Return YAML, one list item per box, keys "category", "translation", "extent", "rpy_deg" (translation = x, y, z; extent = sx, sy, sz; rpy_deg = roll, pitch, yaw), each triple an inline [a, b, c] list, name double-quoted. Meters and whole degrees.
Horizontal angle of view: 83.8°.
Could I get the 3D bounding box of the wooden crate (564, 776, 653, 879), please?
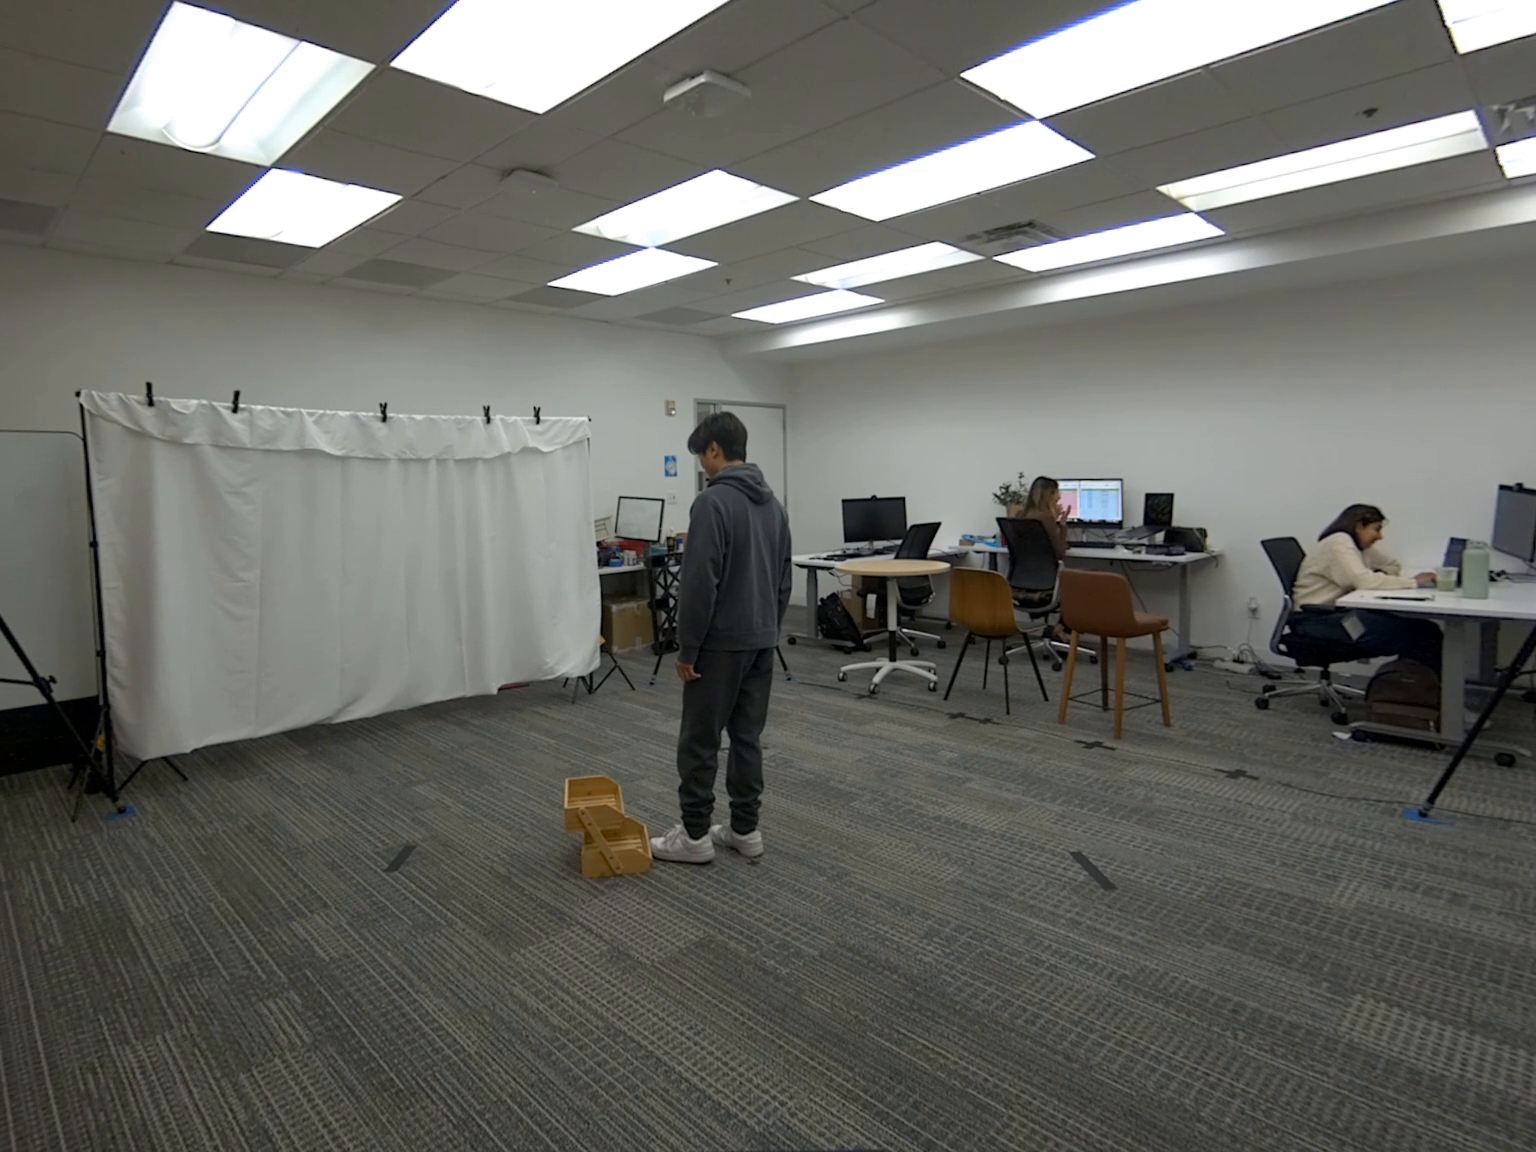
- category: "wooden crate"
  translation: [-0.586, 0.909, 3.161]
  extent: [0.299, 0.272, 0.329]
  rpy_deg: [-3, 6, -11]
